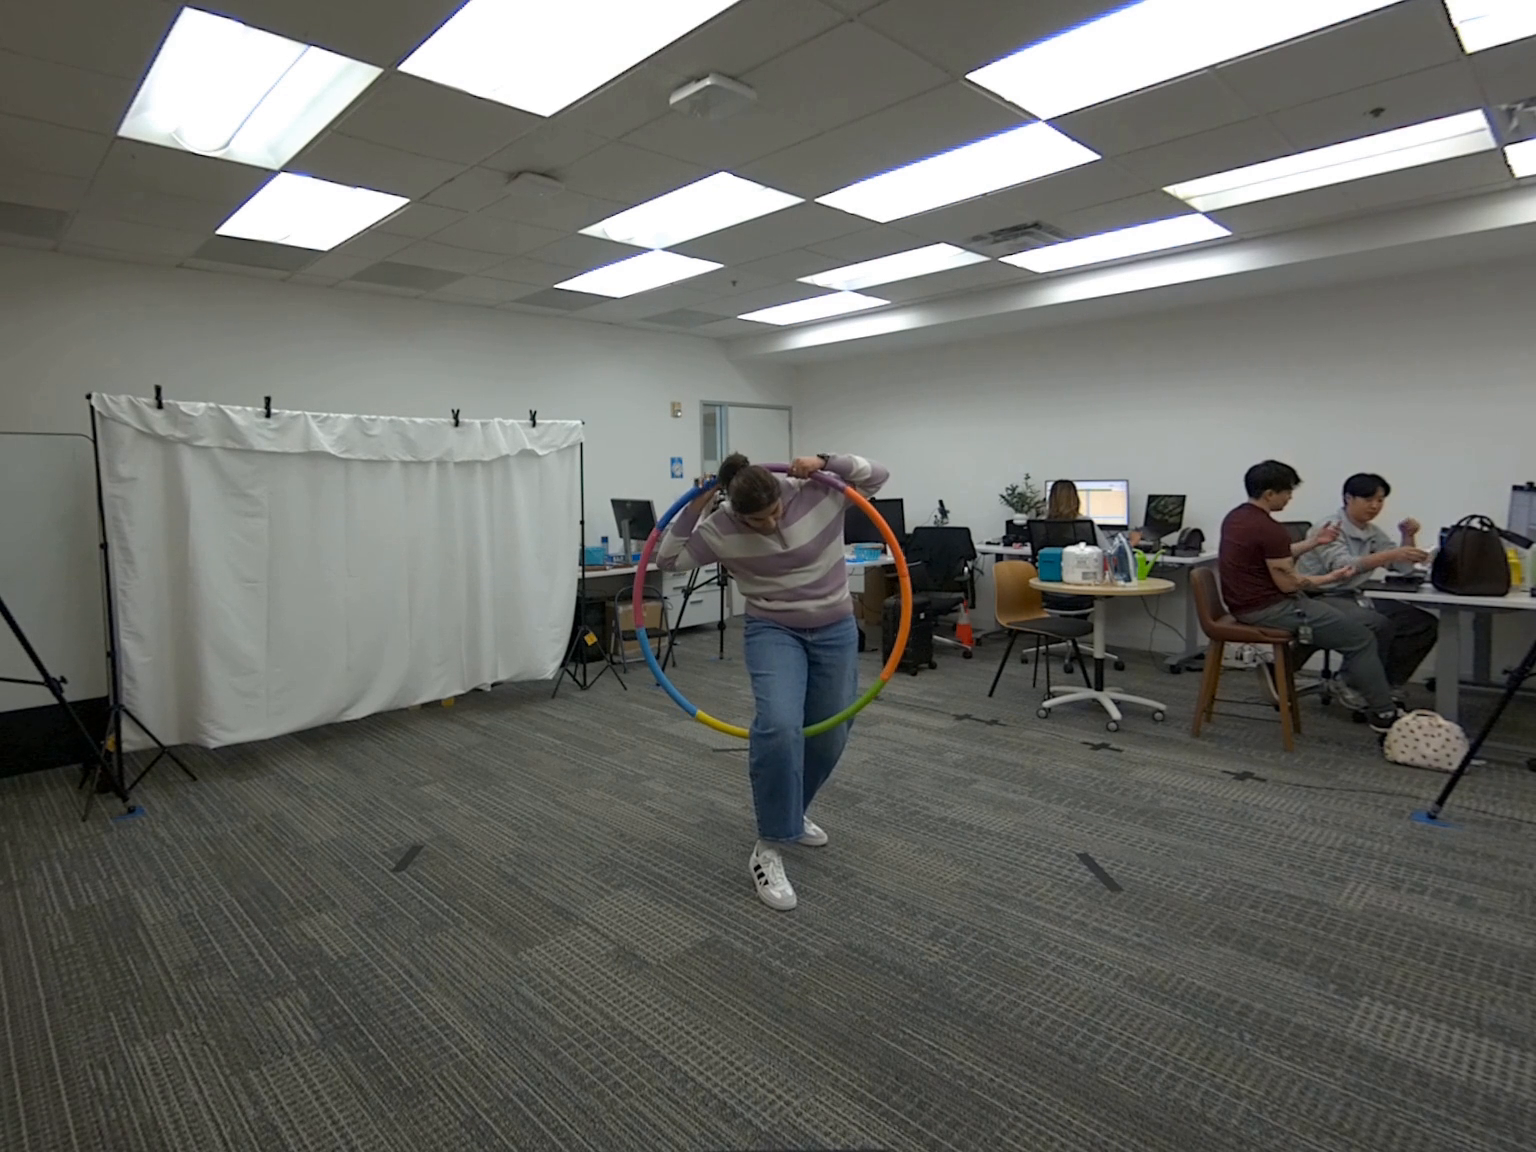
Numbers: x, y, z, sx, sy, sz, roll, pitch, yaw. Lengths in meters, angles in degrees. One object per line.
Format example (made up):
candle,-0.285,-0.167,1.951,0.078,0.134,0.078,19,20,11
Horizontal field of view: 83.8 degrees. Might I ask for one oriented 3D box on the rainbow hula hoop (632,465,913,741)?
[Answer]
rainbow hula hoop,0.010,0.086,3.022,0.992,0.983,0.051,0,2,7
